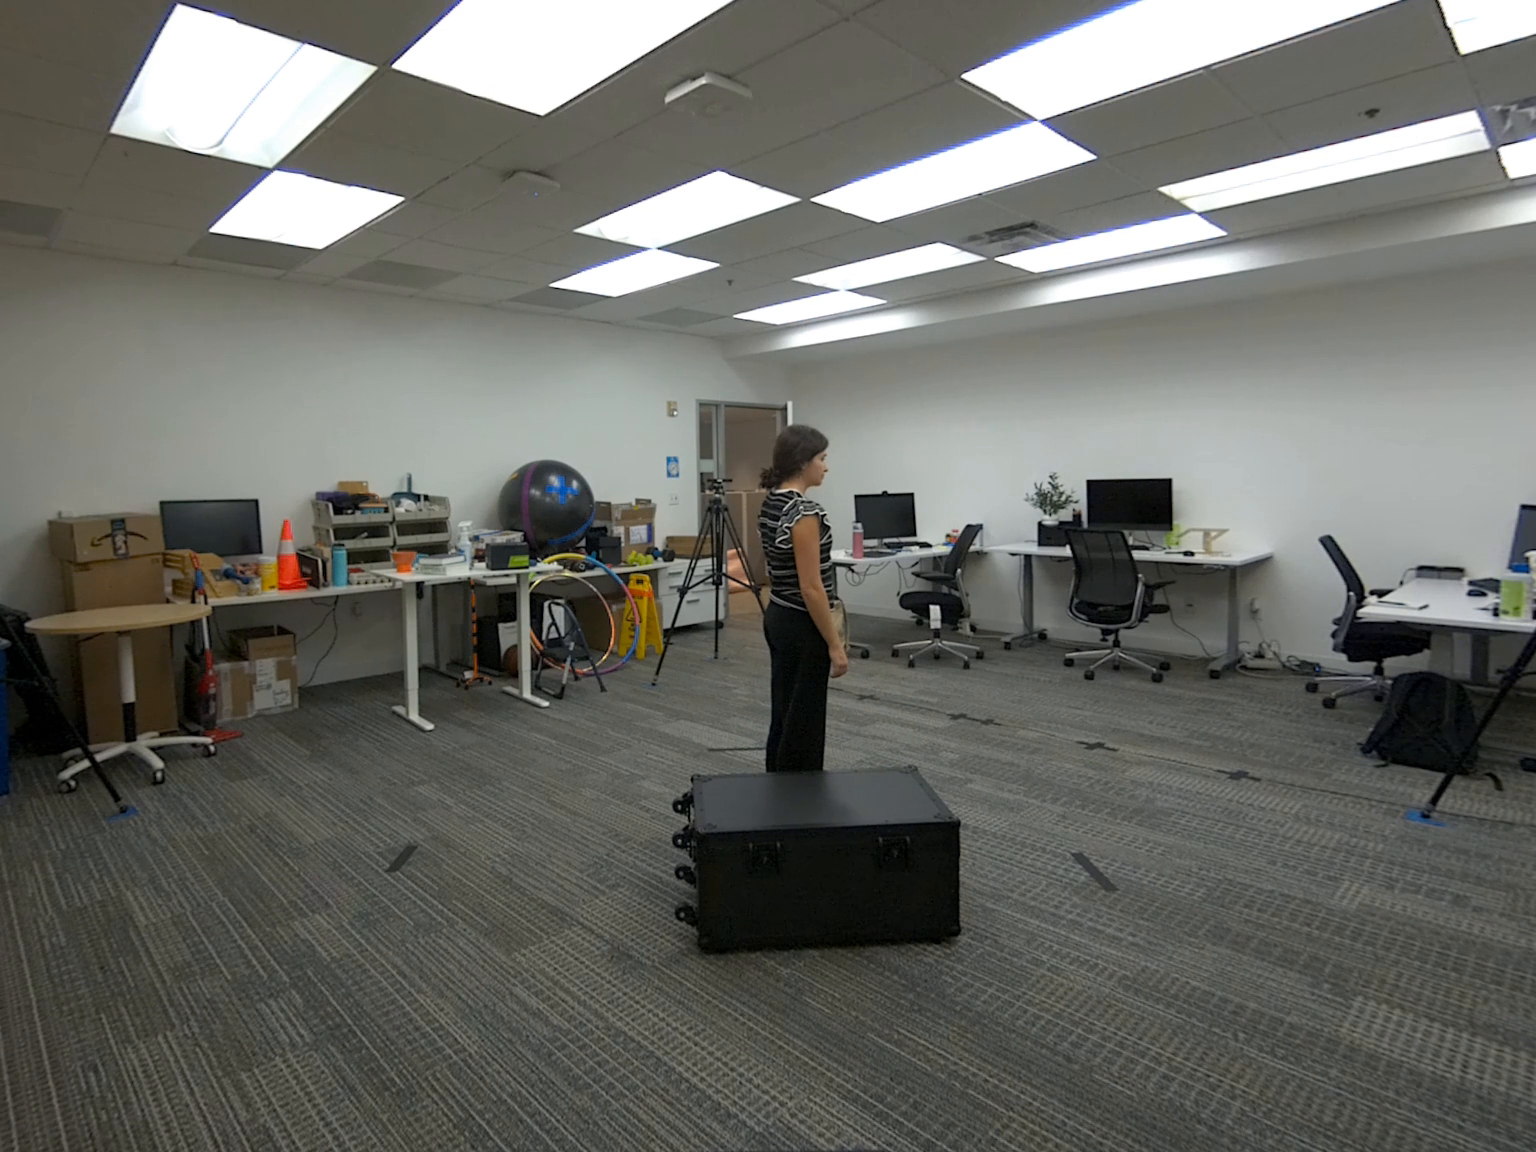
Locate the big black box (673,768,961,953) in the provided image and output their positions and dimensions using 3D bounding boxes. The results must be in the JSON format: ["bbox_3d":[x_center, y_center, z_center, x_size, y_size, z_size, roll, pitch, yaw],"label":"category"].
[{"bbox_3d":[0.123,0.889,2.752,0.858,0.395,0.525,-1,5,-4],"label":"big black box"}]
